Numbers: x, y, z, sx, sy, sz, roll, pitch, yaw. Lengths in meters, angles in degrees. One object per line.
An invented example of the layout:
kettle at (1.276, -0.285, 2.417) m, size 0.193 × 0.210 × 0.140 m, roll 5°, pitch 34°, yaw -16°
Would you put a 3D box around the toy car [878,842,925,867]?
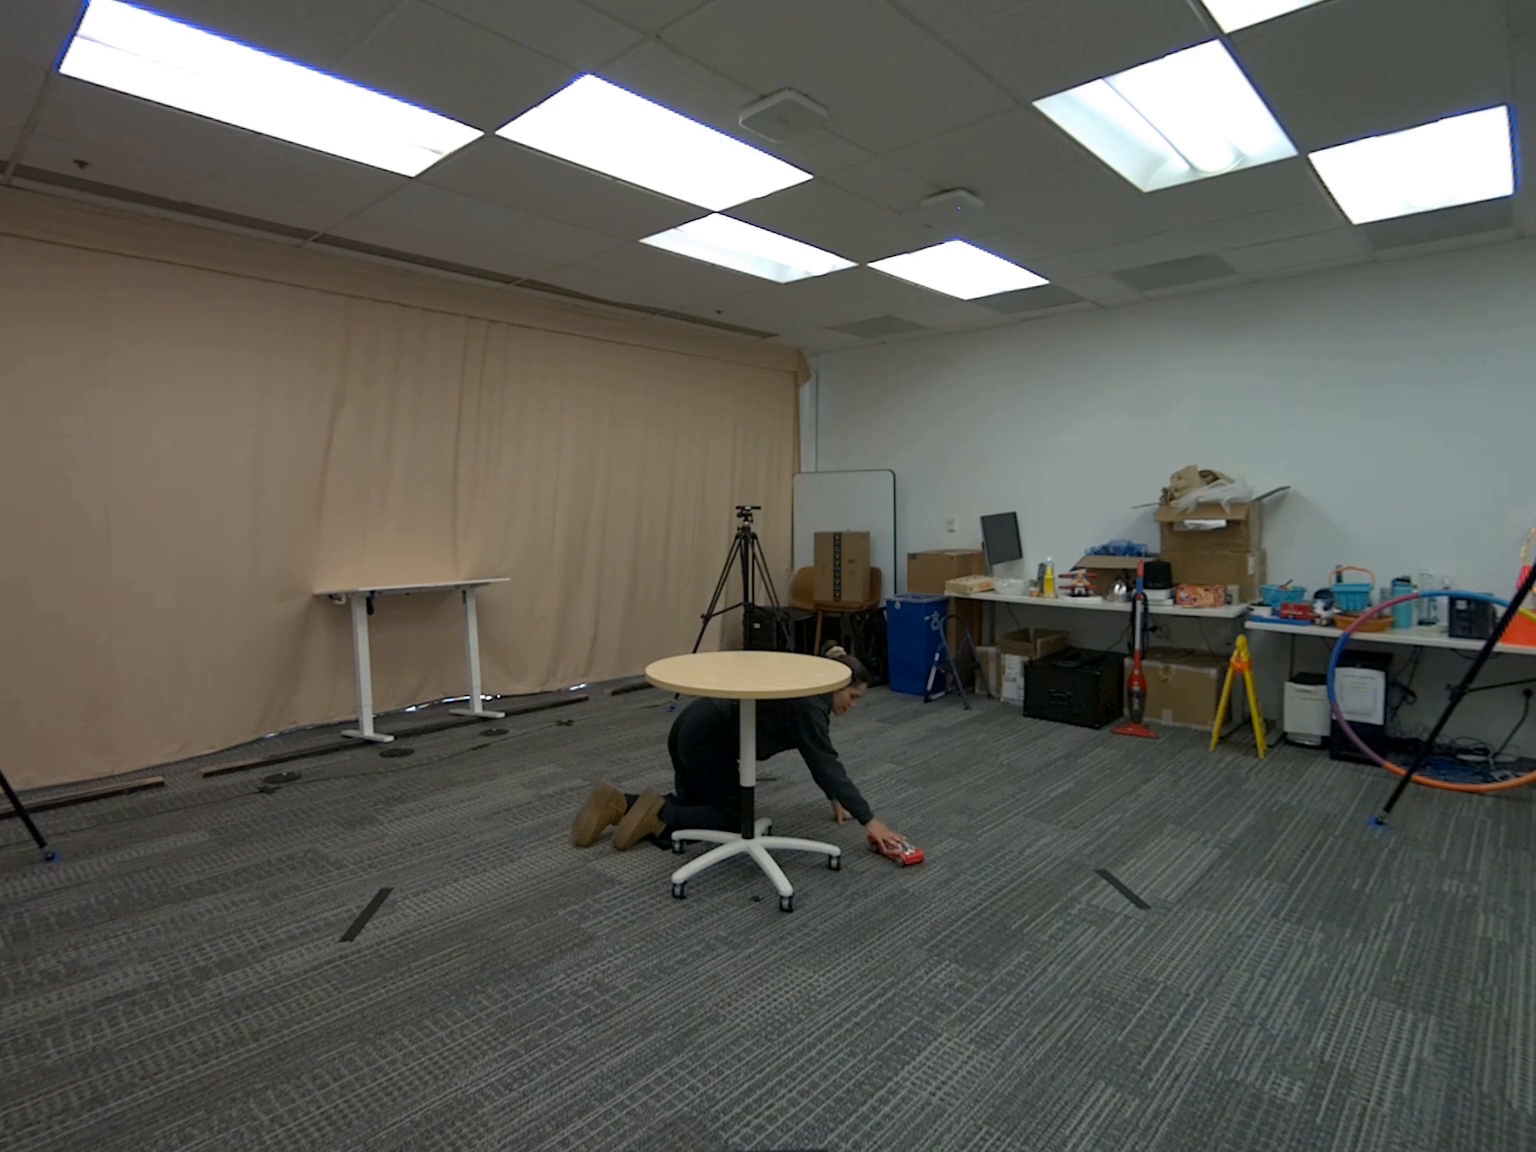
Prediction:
toy car at (0.518, 1.070, 3.350) m, size 0.127 × 0.082 × 0.263 m, roll -4°, pitch 16°, yaw -29°
